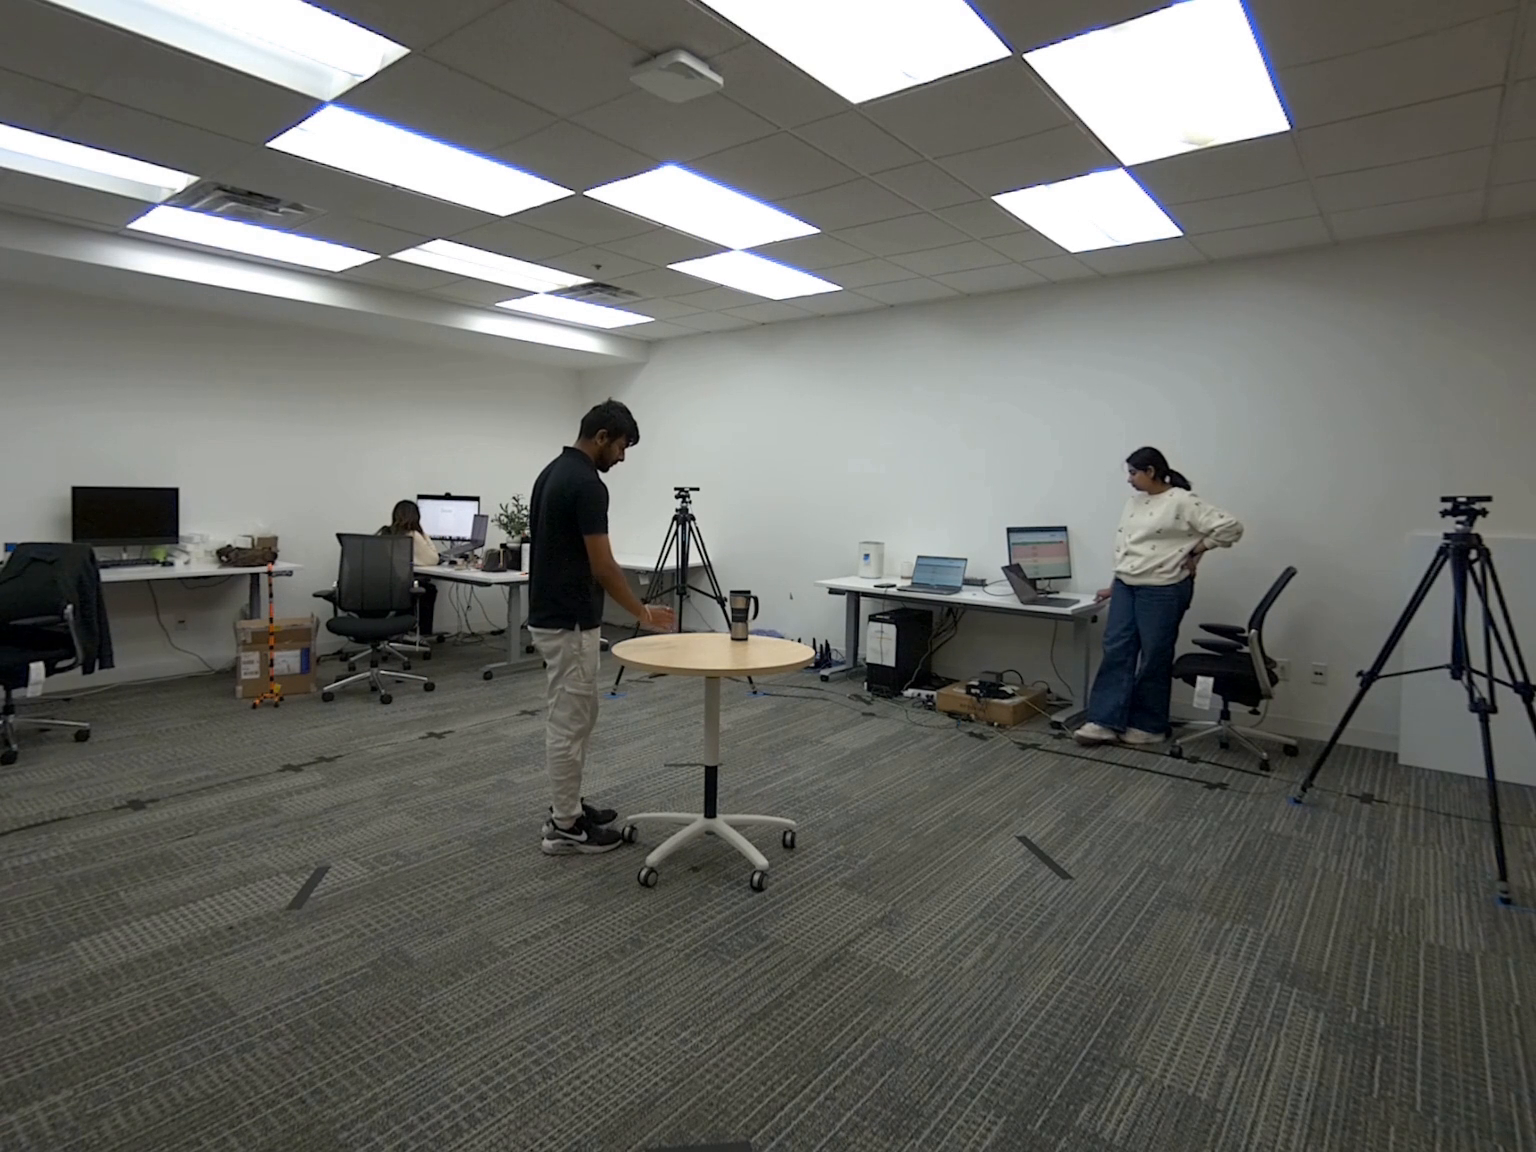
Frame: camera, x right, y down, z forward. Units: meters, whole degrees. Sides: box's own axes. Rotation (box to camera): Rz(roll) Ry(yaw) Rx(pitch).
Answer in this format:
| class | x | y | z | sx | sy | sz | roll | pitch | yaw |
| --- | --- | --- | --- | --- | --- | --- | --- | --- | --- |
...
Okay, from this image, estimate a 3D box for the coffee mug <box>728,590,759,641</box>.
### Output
| class | x | y | z | sx | sy | sz | roll | pitch | yaw |
| --- | --- | --- | --- | --- | --- | --- | --- | --- | --- |
| coffee mug | -0.114 | 0.158 | 3.419 | 0.085 | 0.203 | 0.125 | 1 | -1 | -35 |
